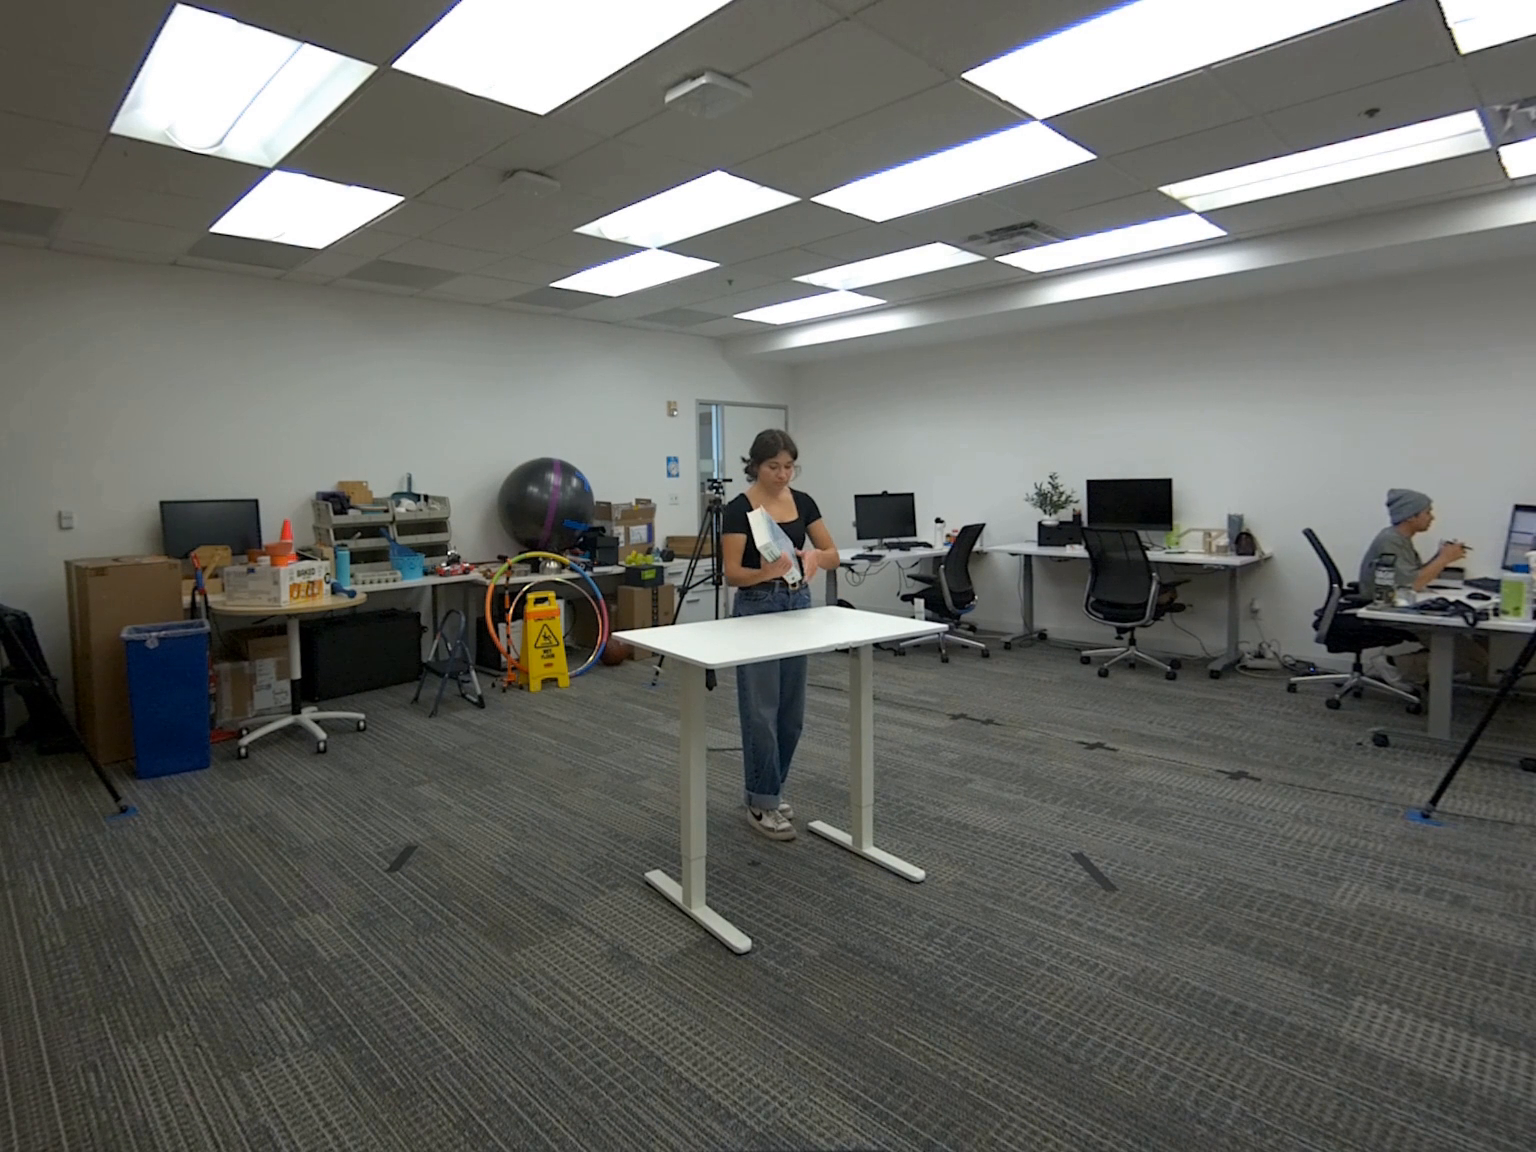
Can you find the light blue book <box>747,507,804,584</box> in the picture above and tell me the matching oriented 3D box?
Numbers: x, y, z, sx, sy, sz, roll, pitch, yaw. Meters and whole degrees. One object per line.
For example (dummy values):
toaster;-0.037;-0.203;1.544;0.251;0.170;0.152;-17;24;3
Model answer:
light blue book;0.022;-0.110;3.193;0.060;0.197;0.251;-21;-43;19
